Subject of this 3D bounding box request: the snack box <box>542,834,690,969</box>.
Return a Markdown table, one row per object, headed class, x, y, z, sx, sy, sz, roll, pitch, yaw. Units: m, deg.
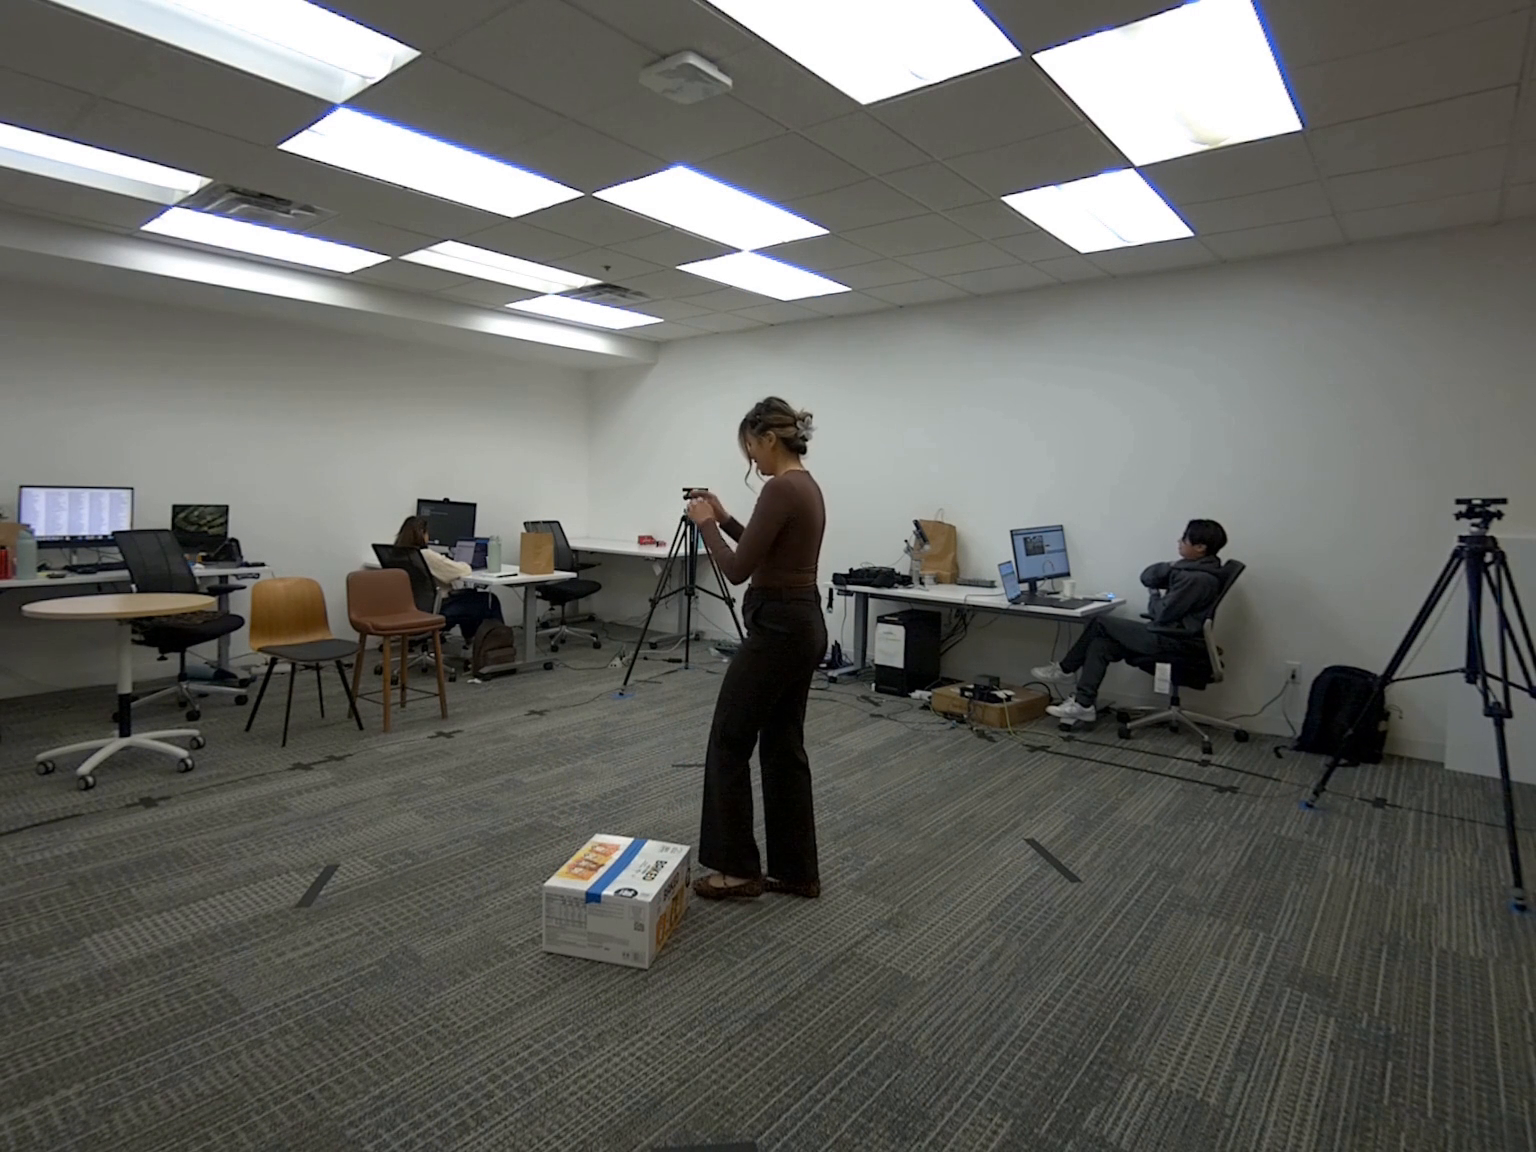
| class | x | y | z | sx | sy | sz | roll | pitch | yaw |
| --- | --- | --- | --- | --- | --- | --- | --- | --- | --- |
| snack box | -0.474 | 1.005 | 2.670 | 0.346 | 0.205 | 0.400 | 2 | 5 | 14 |
